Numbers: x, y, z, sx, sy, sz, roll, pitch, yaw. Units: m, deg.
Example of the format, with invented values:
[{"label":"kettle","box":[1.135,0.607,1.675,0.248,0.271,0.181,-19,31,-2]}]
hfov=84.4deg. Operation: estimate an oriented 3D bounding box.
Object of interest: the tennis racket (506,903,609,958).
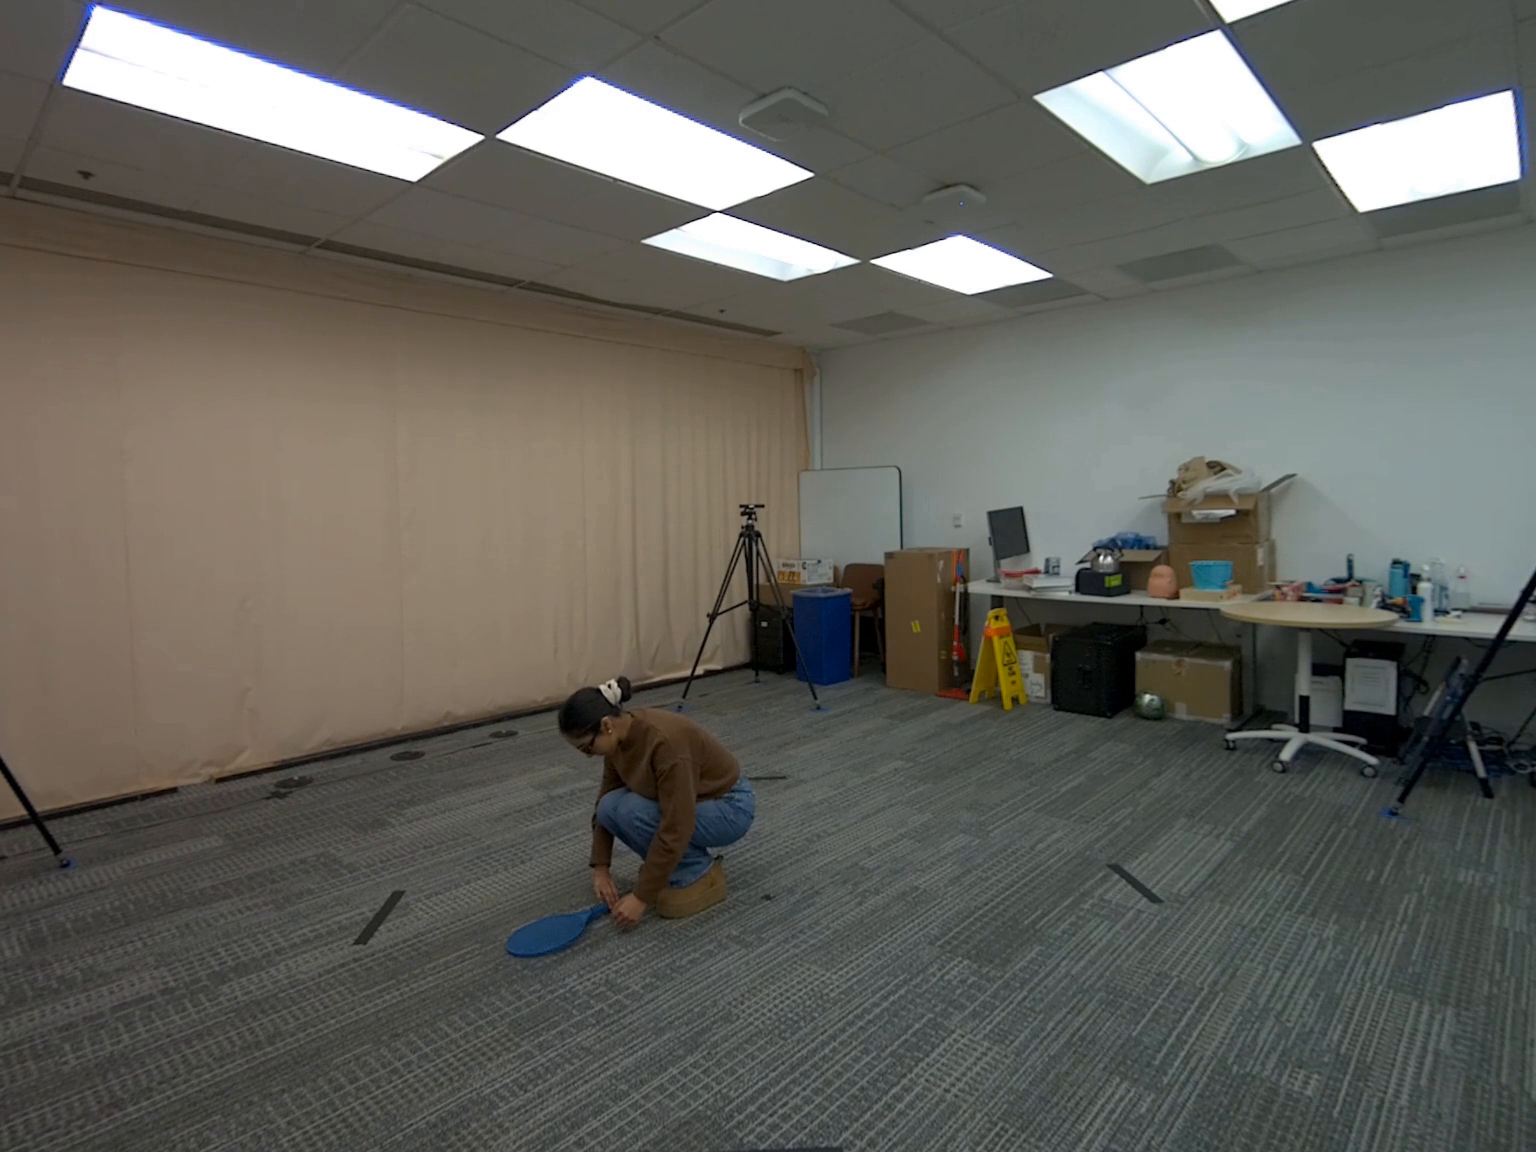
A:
[{"label":"tennis racket","box":[-0.664,1.145,2.782,0.420,0.032,0.220,-9,6,-42]}]
